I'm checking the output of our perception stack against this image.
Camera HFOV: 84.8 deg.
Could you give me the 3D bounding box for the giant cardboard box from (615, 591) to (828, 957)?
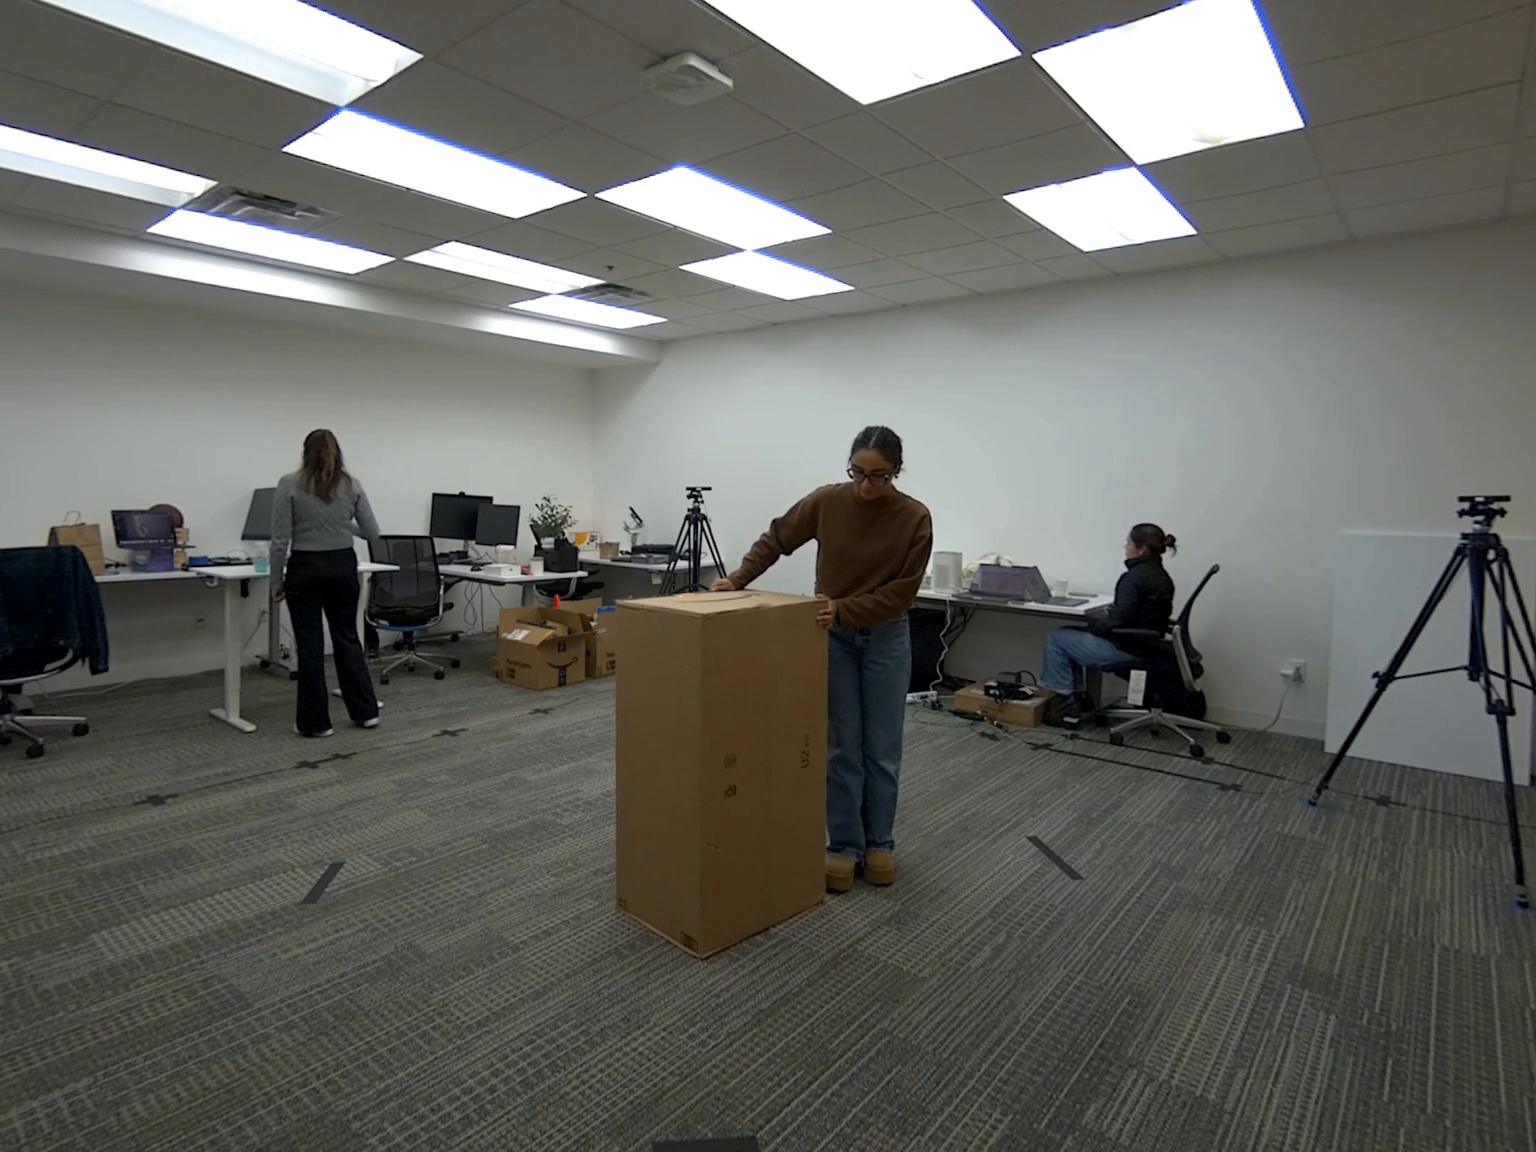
[{"bbox_3d":[-0.163,0.587,2.813,0.560,1.023,0.440,-2,4,-44],"label":"giant cardboard box"}]
